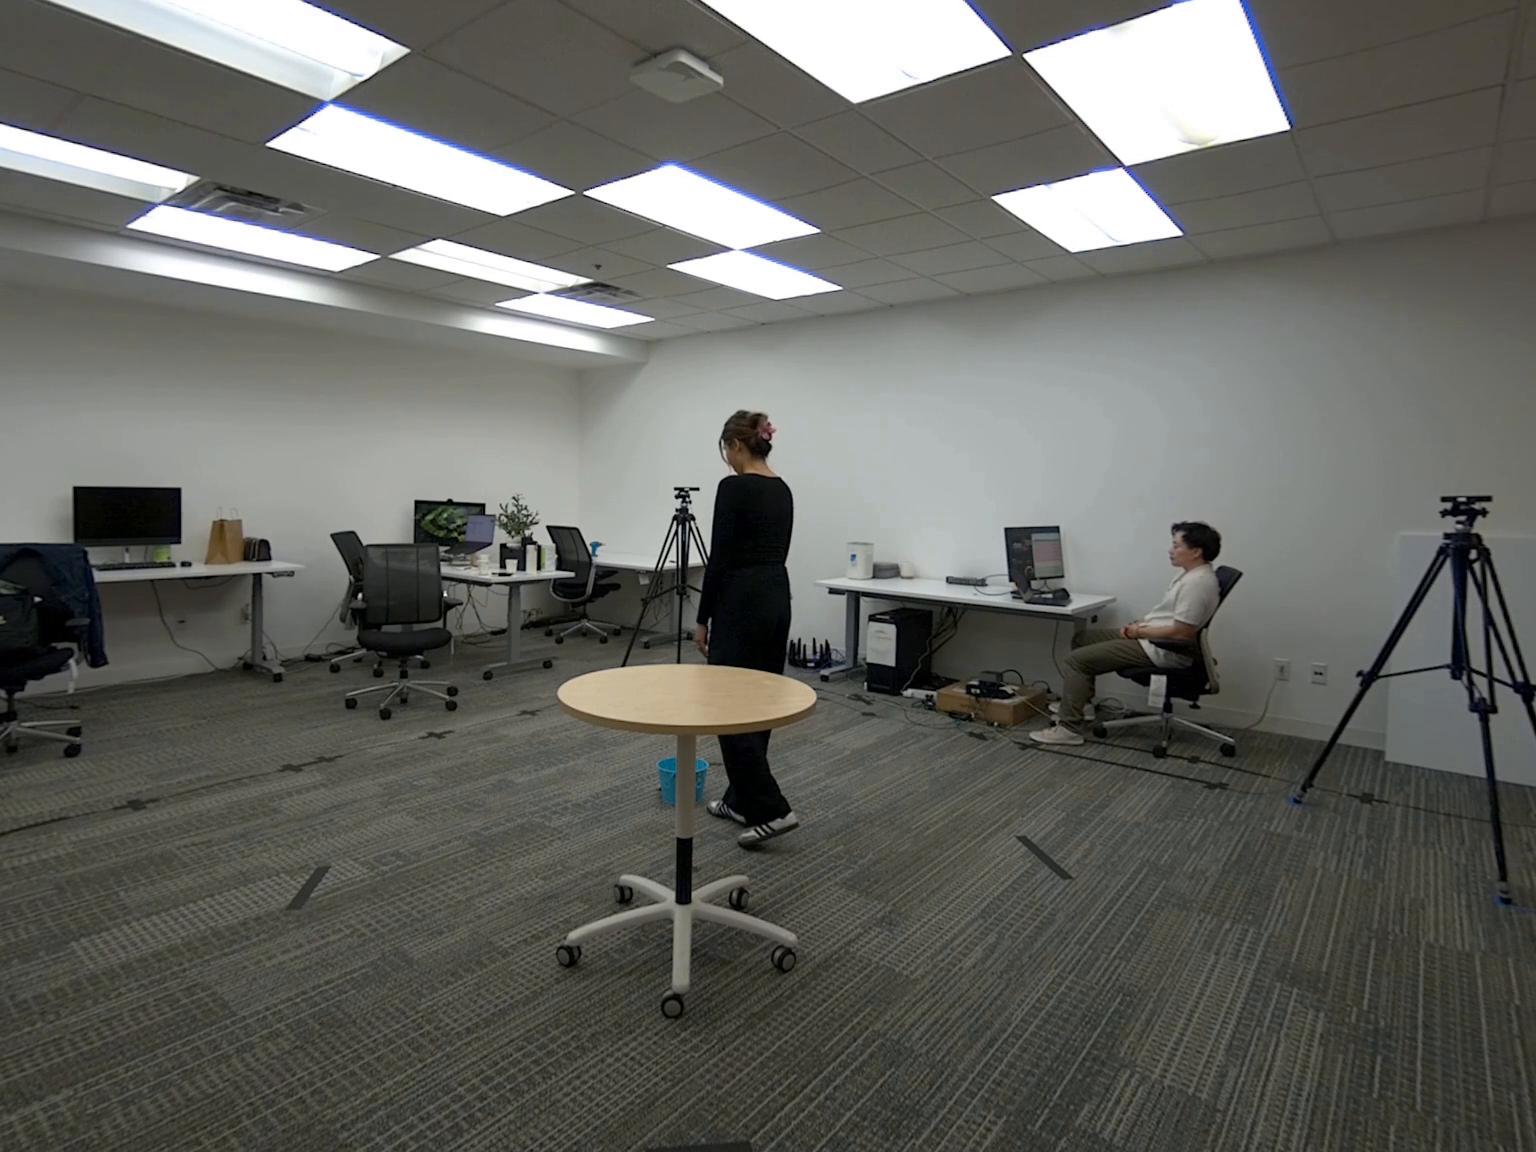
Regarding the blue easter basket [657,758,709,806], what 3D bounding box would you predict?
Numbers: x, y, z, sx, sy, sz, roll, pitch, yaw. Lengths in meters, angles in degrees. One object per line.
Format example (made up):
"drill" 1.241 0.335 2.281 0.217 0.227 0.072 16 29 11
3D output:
"blue easter basket" -0.396 0.917 3.821 0.243 0.155 0.245 1 5 -2
